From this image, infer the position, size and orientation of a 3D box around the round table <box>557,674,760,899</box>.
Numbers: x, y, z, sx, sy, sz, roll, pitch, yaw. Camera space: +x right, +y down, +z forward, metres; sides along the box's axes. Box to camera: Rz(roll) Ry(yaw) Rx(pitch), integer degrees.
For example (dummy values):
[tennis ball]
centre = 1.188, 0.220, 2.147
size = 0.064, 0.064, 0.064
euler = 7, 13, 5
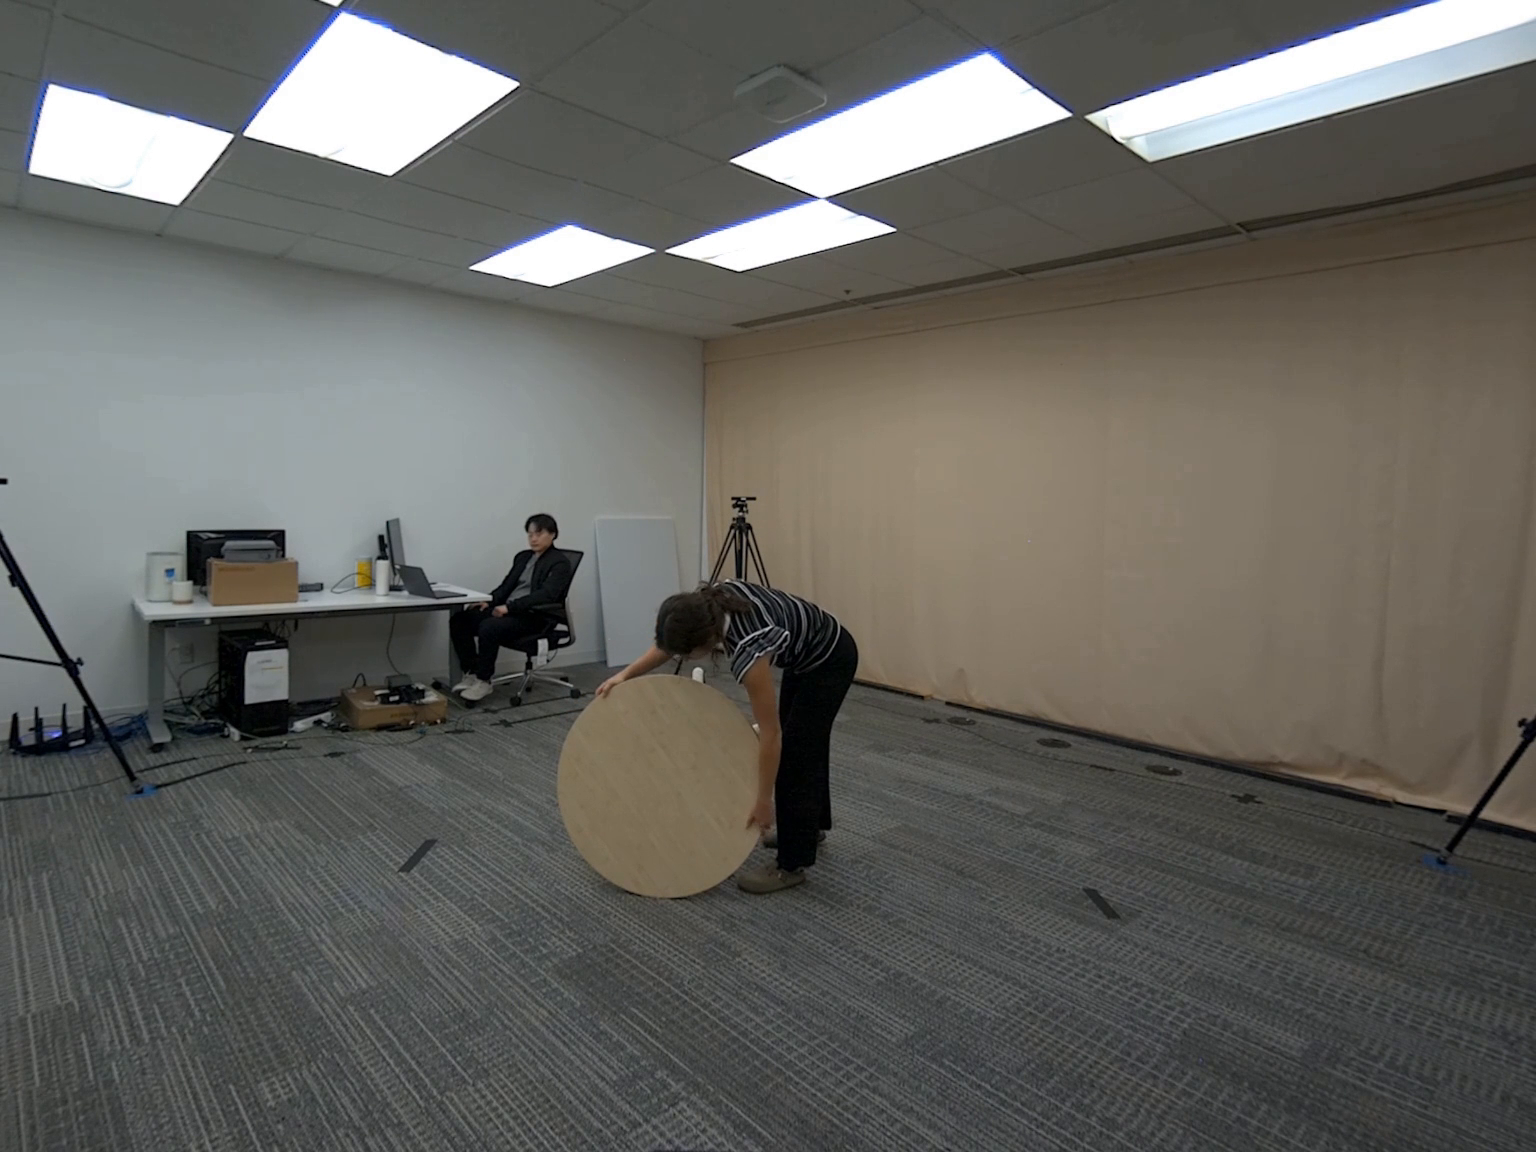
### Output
[round table]
centre = -0.335, 0.746, 3.340
size = 0.770, 0.765, 0.787
euler = 2, -2, 8
